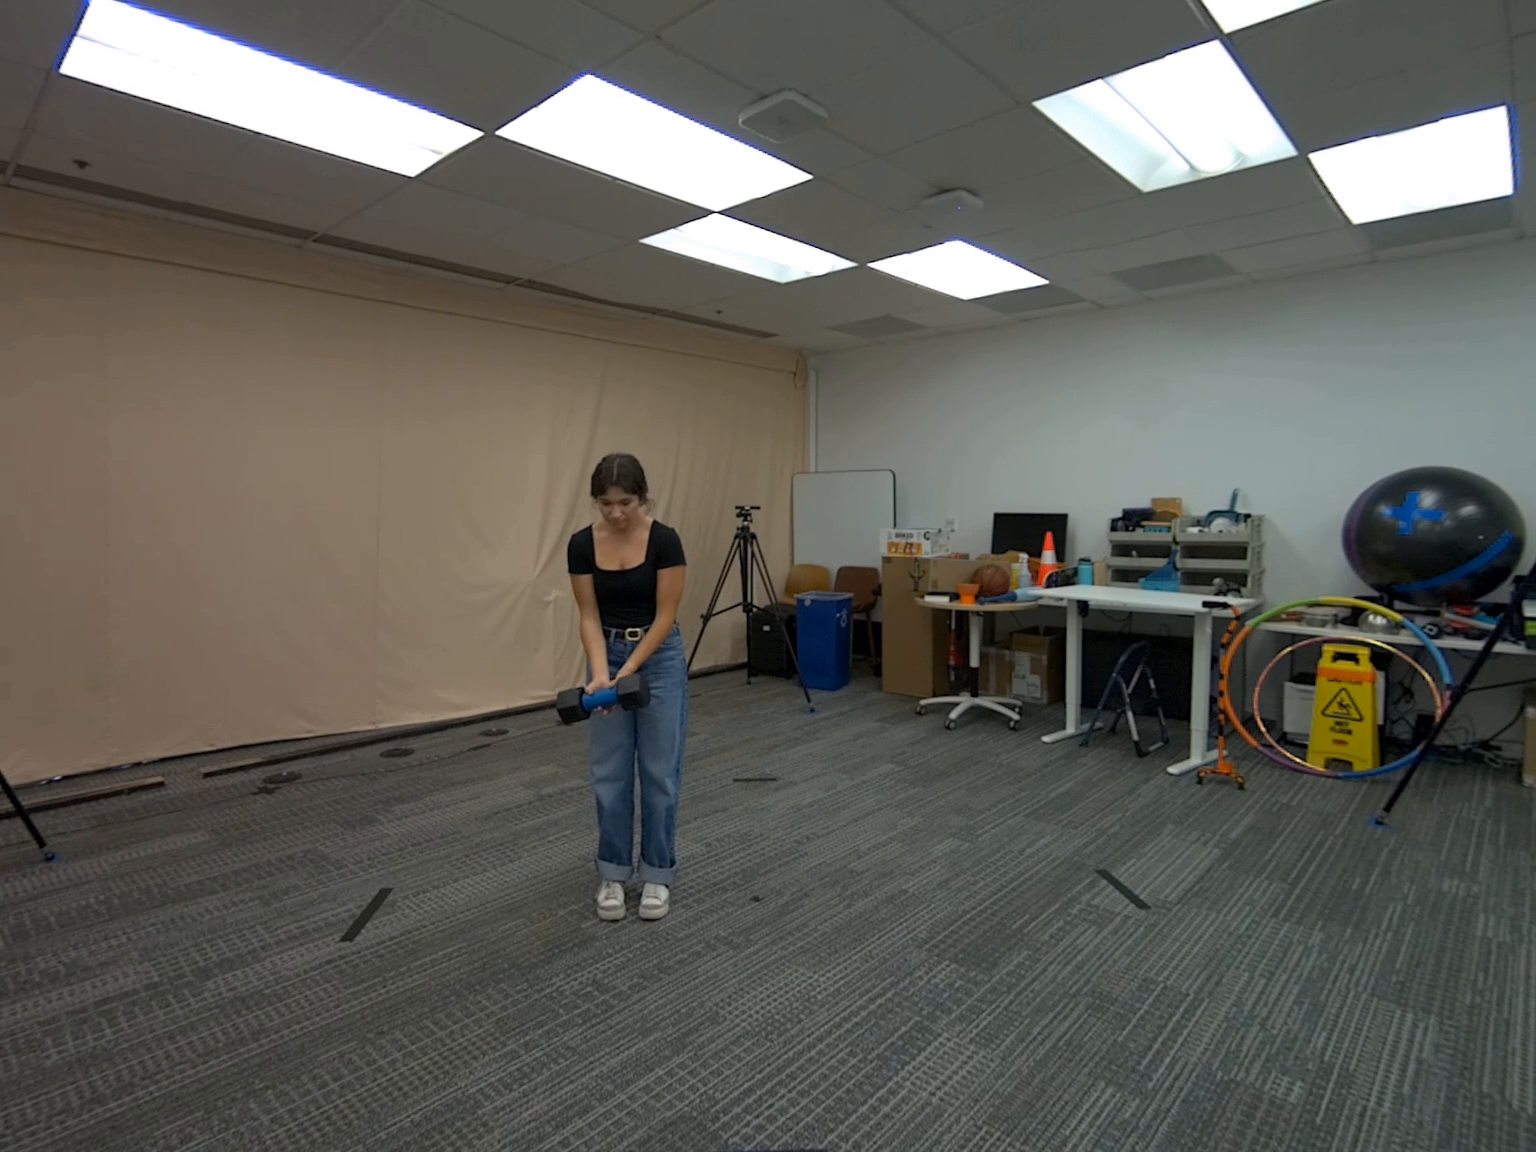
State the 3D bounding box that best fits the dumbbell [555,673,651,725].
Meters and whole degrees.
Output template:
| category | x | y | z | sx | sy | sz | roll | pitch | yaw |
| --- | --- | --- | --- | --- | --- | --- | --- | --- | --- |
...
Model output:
| category | x | y | z | sx | sy | sz | roll | pitch | yaw |
| --- | --- | --- | --- | --- | --- | --- | --- | --- | --- |
| dumbbell | -0.537 | 0.379 | 2.697 | 0.297 | 0.125 | 0.105 | -12 | -38 | 13 |
